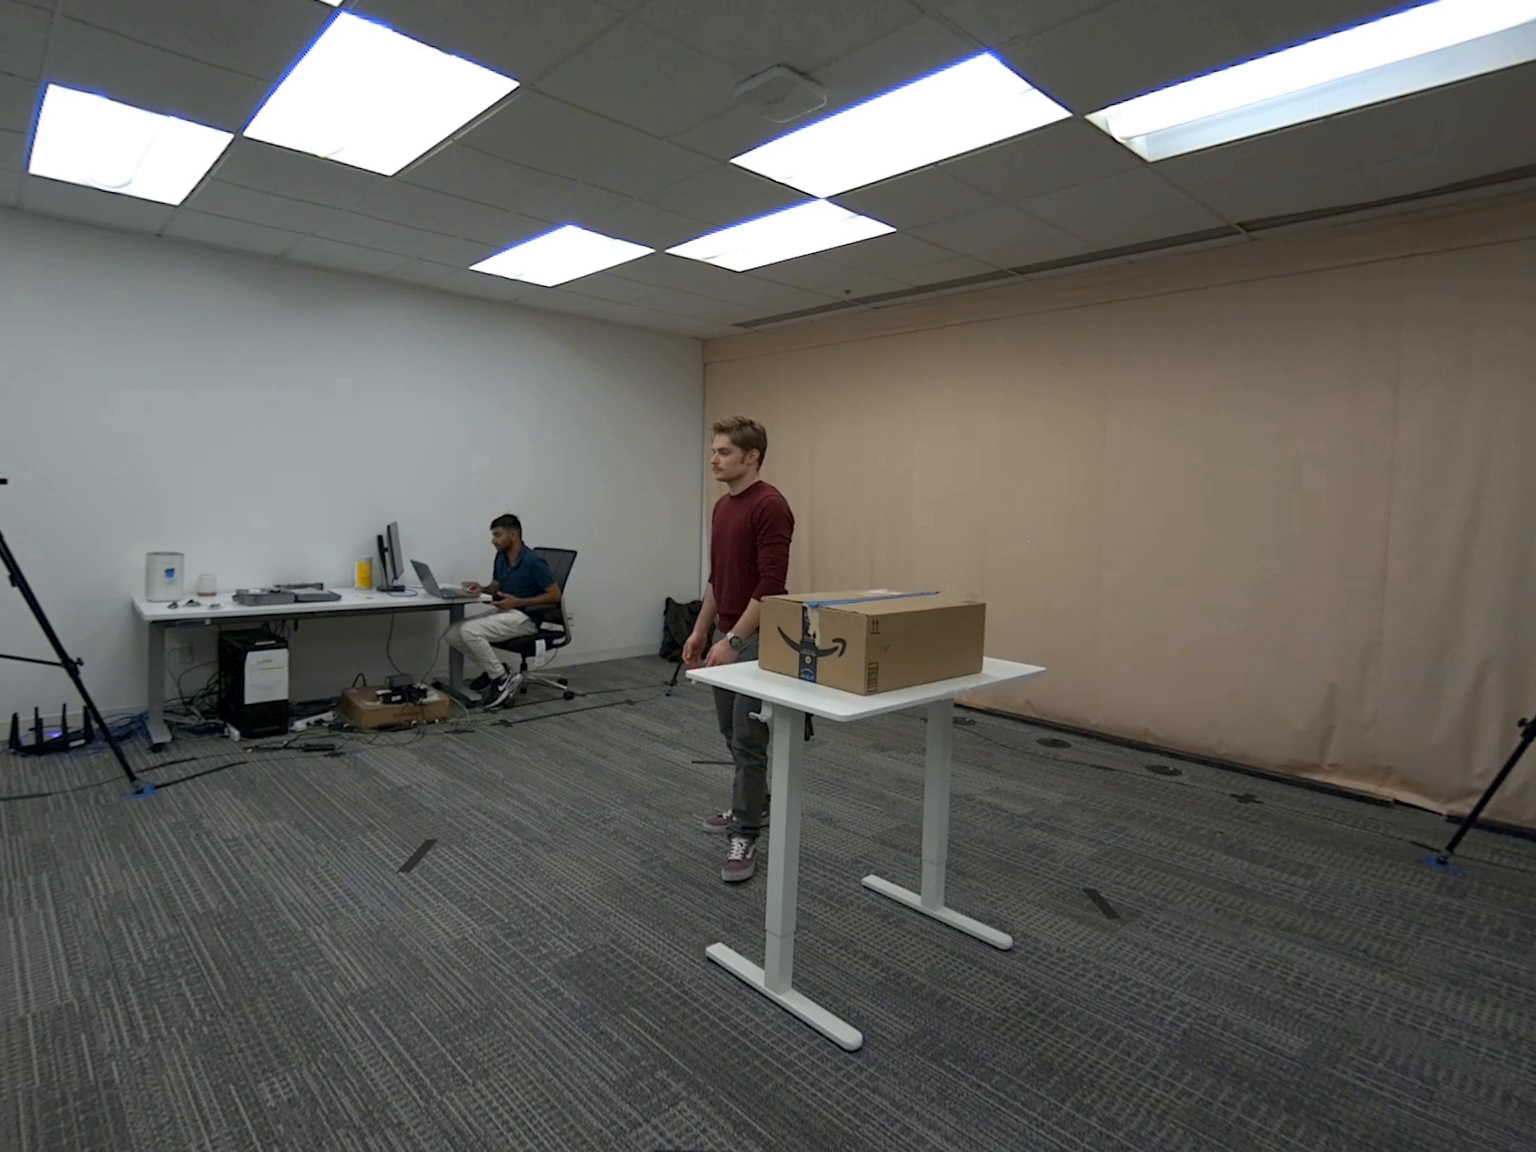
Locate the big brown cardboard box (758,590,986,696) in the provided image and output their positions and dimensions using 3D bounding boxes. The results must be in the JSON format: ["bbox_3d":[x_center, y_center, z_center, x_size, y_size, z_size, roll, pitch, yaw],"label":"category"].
[{"bbox_3d":[0.318,0.179,2.537,0.576,0.232,0.428,-4,7,-43],"label":"big brown cardboard box"}]
